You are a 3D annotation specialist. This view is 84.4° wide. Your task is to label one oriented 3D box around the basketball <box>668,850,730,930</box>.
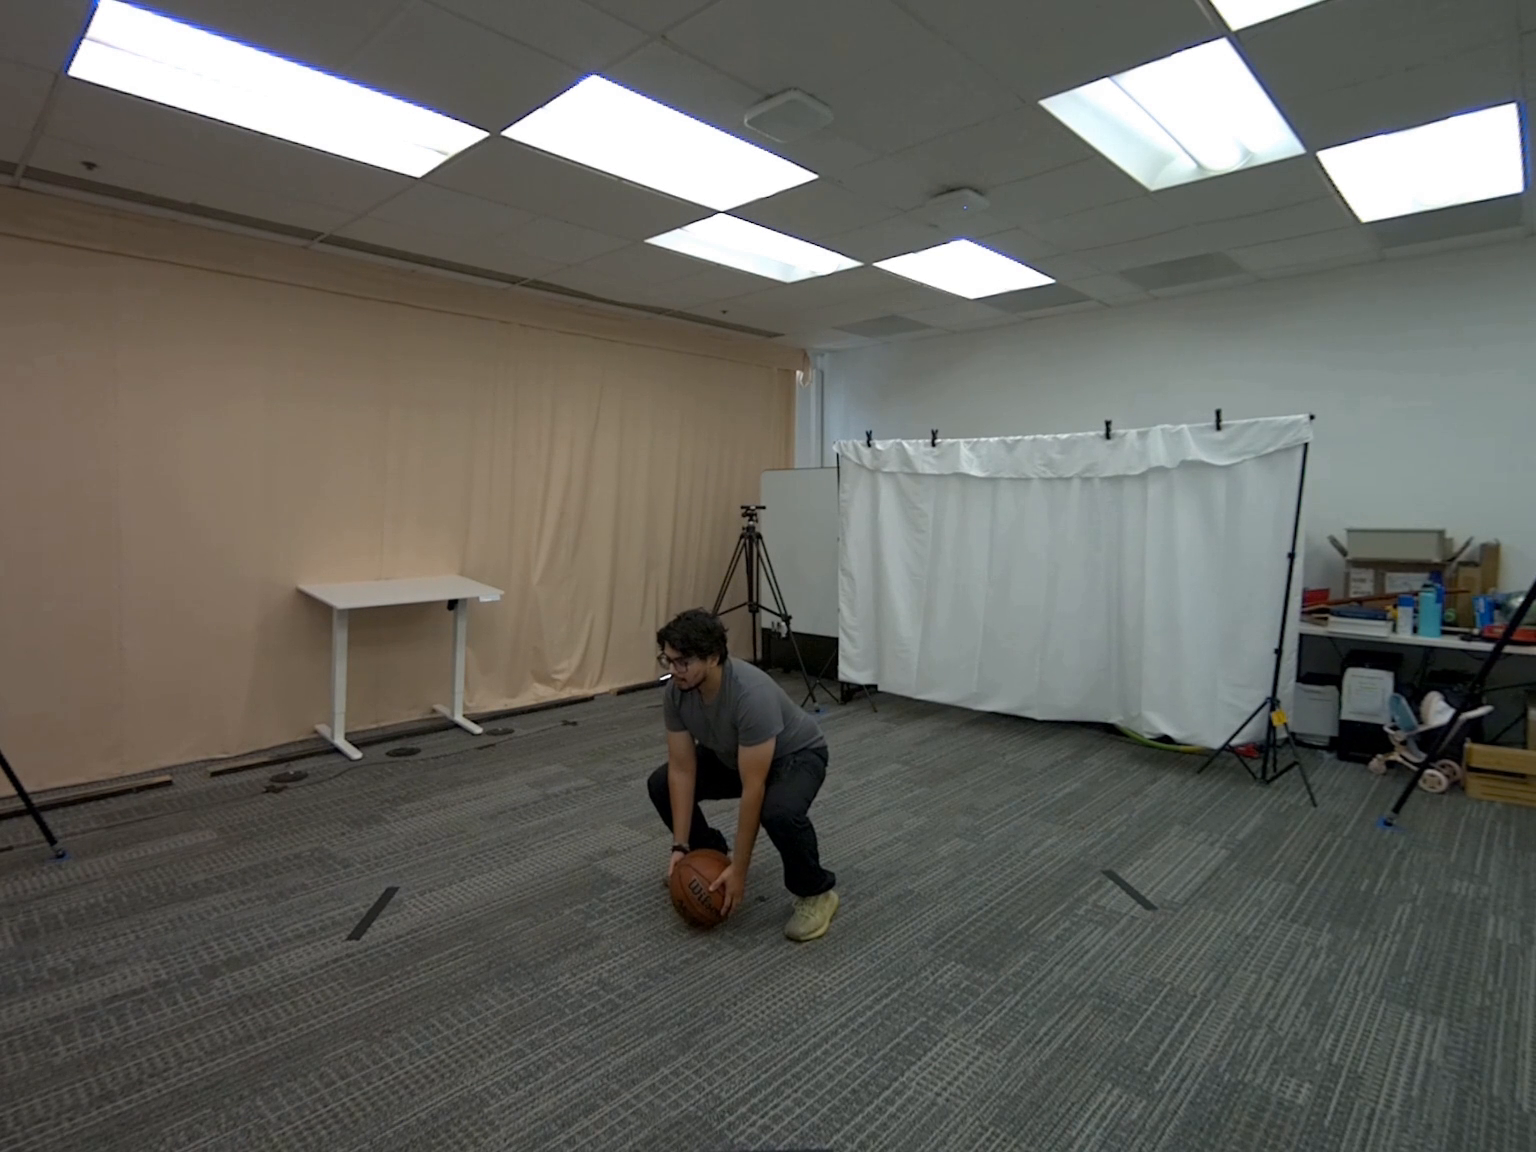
[{"bbox_3d":[-0.209,1.027,2.789,0.236,0.235,0.237,0,4,-2],"label":"basketball"}]
